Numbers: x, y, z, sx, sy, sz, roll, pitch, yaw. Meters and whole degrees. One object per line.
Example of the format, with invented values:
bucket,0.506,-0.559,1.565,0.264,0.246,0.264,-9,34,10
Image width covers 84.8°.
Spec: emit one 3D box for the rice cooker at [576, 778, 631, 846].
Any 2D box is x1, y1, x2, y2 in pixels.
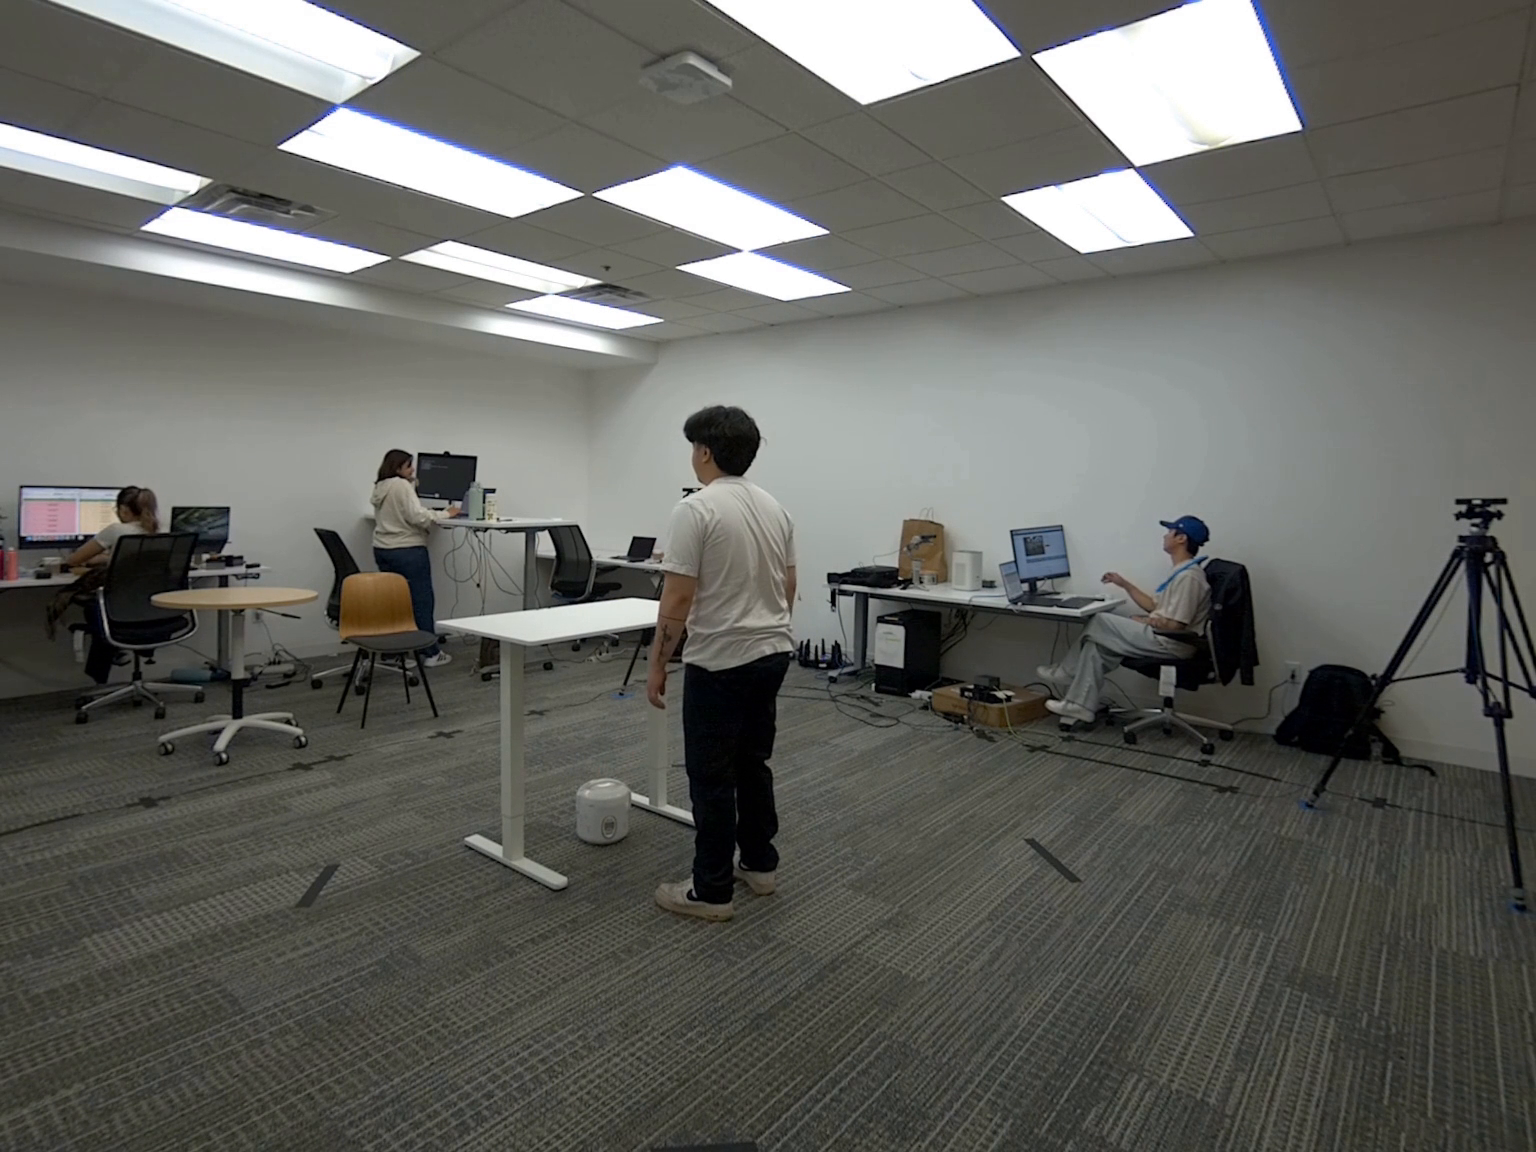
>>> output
rice cooker,-0.665,0.921,3.377,0.216,0.232,0.223,-1,4,-22
